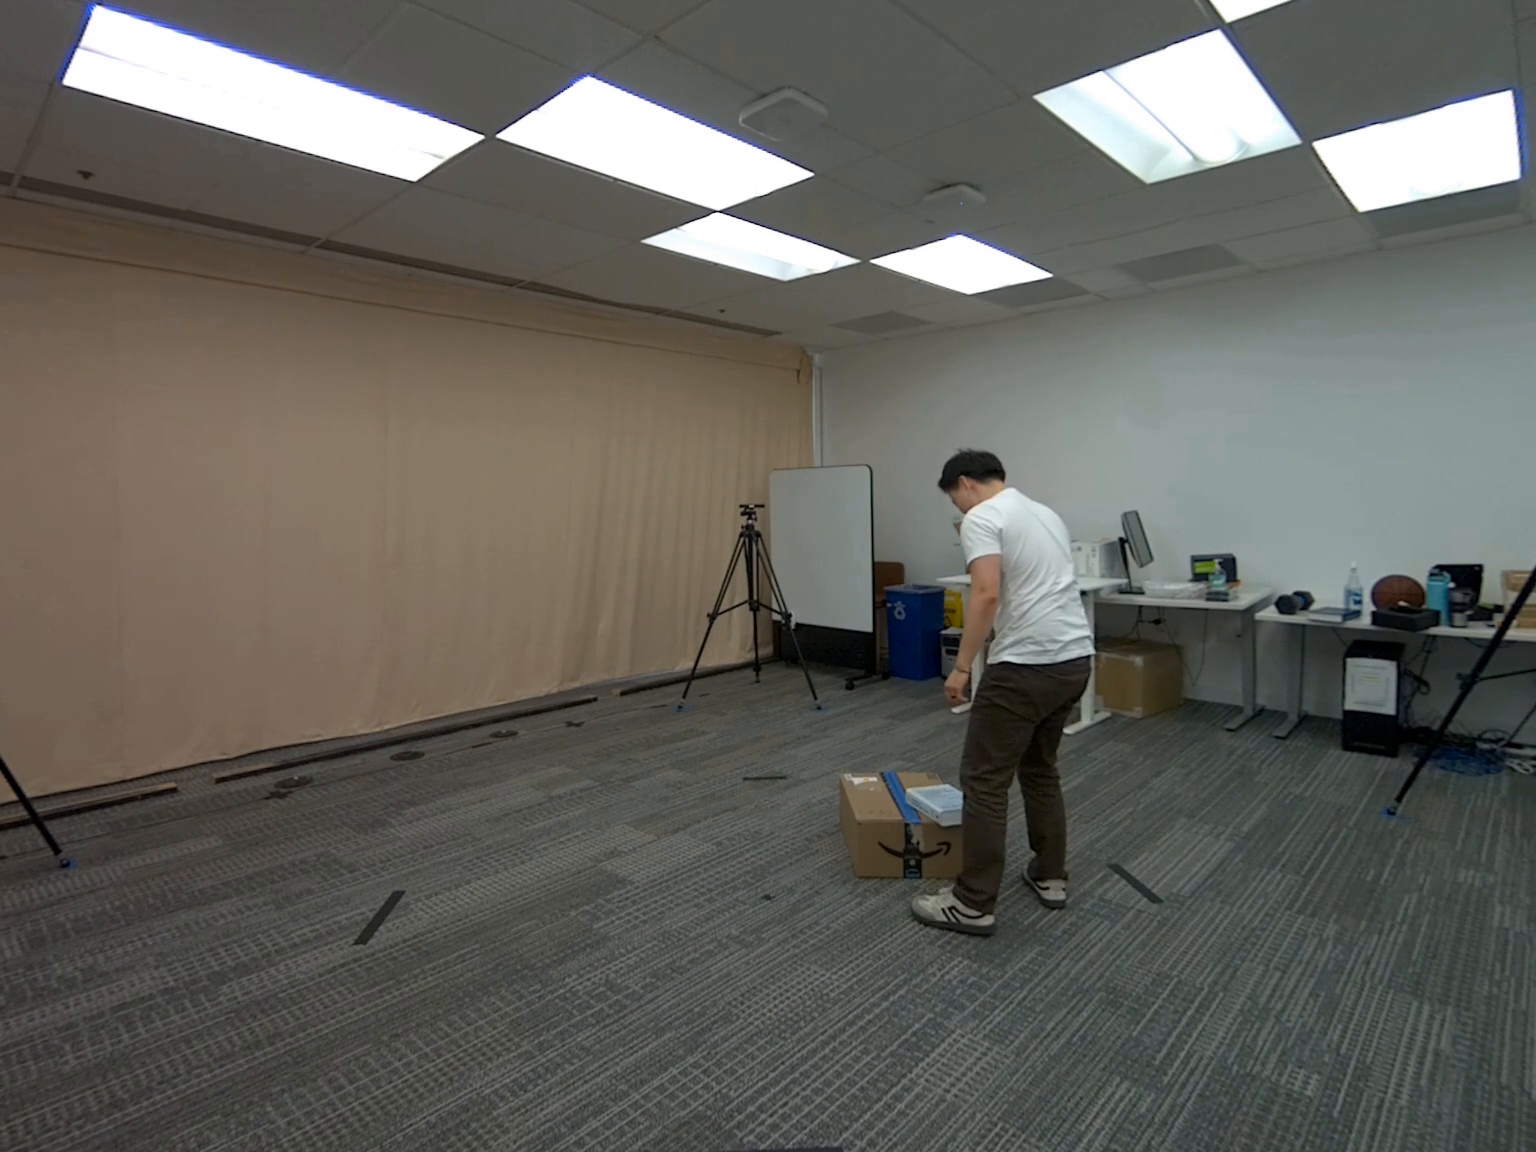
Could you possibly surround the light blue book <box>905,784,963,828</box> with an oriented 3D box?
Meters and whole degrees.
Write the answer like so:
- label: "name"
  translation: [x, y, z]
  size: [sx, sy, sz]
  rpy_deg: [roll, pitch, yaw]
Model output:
- label: "light blue book"
  translation: [0.676, 0.869, 3.194]
  size: [0.188, 0.059, 0.266]
  rpy_deg: [-2, 4, -18]
